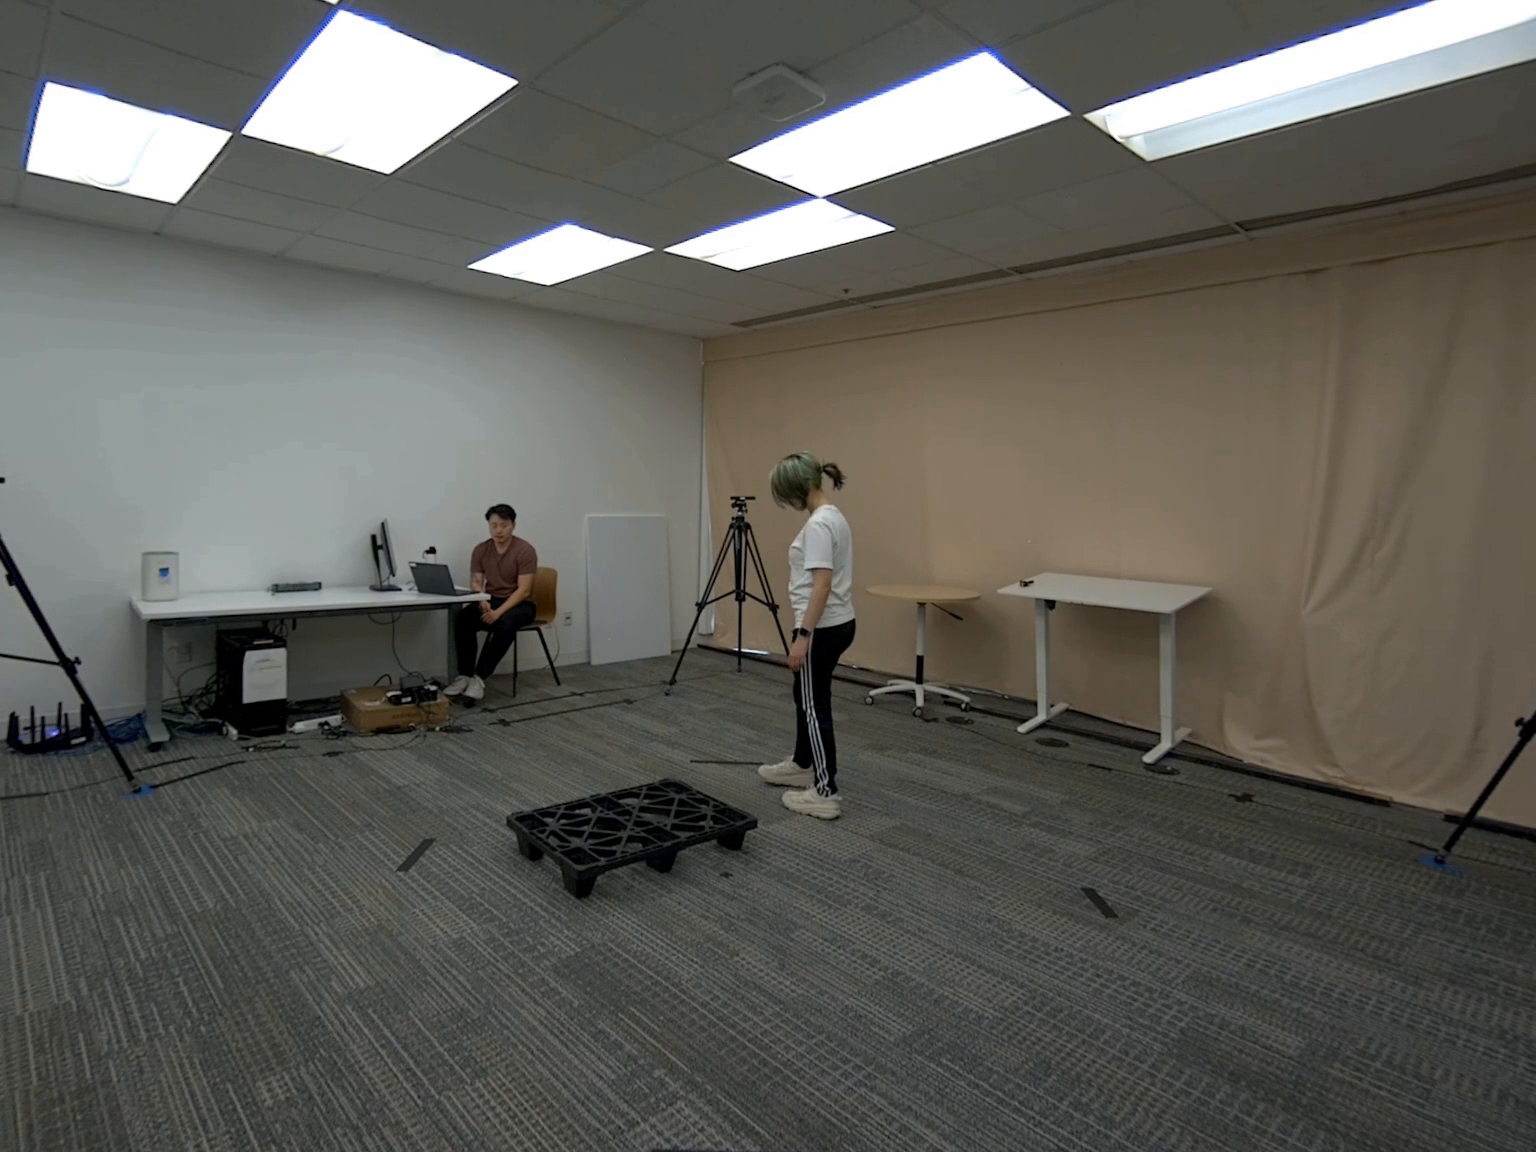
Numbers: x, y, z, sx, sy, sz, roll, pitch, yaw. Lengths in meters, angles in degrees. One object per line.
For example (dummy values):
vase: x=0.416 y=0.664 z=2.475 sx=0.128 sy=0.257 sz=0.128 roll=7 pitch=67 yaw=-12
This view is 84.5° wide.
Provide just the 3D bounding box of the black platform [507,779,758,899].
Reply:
black platform: x=-0.542 y=1.012 z=3.297 sx=0.787 sy=0.143 sz=0.620 roll=-3 pitch=6 yaw=-40
